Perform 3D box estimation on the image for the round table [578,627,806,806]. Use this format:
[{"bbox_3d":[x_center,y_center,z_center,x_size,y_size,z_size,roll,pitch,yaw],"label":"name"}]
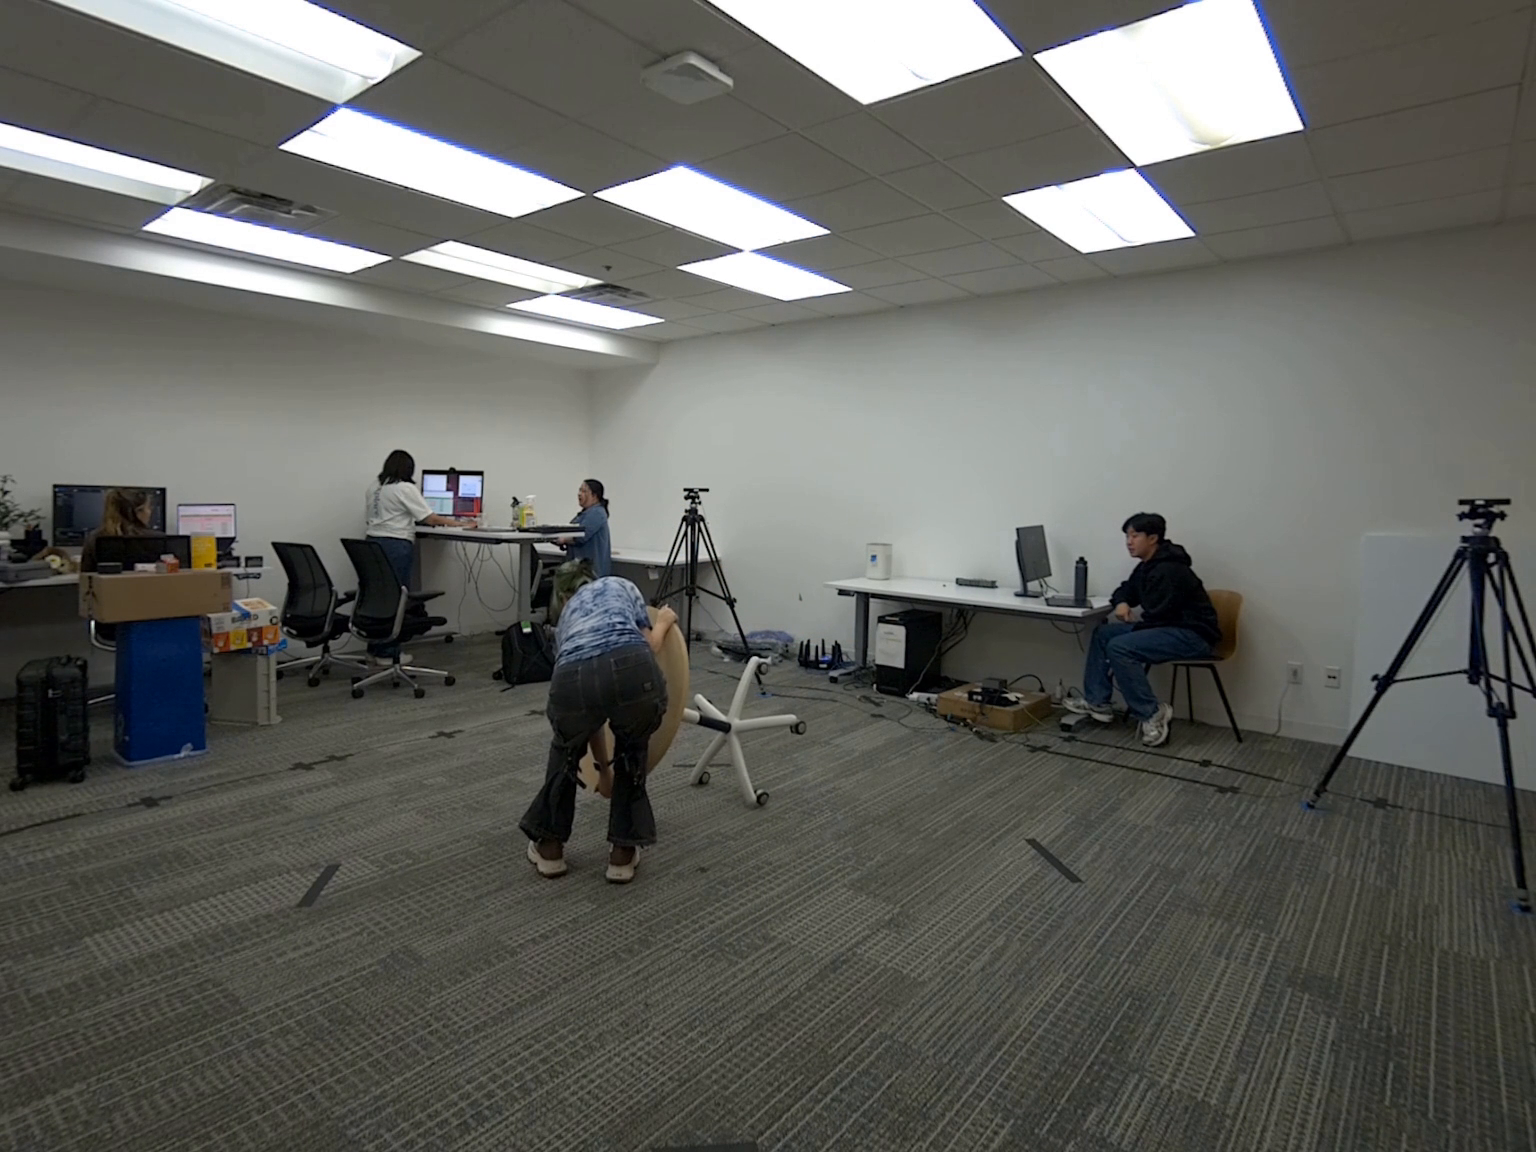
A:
[{"bbox_3d":[-0.365,0.606,3.721,0.790,0.769,0.762,5,-16,46],"label":"round table"}]
